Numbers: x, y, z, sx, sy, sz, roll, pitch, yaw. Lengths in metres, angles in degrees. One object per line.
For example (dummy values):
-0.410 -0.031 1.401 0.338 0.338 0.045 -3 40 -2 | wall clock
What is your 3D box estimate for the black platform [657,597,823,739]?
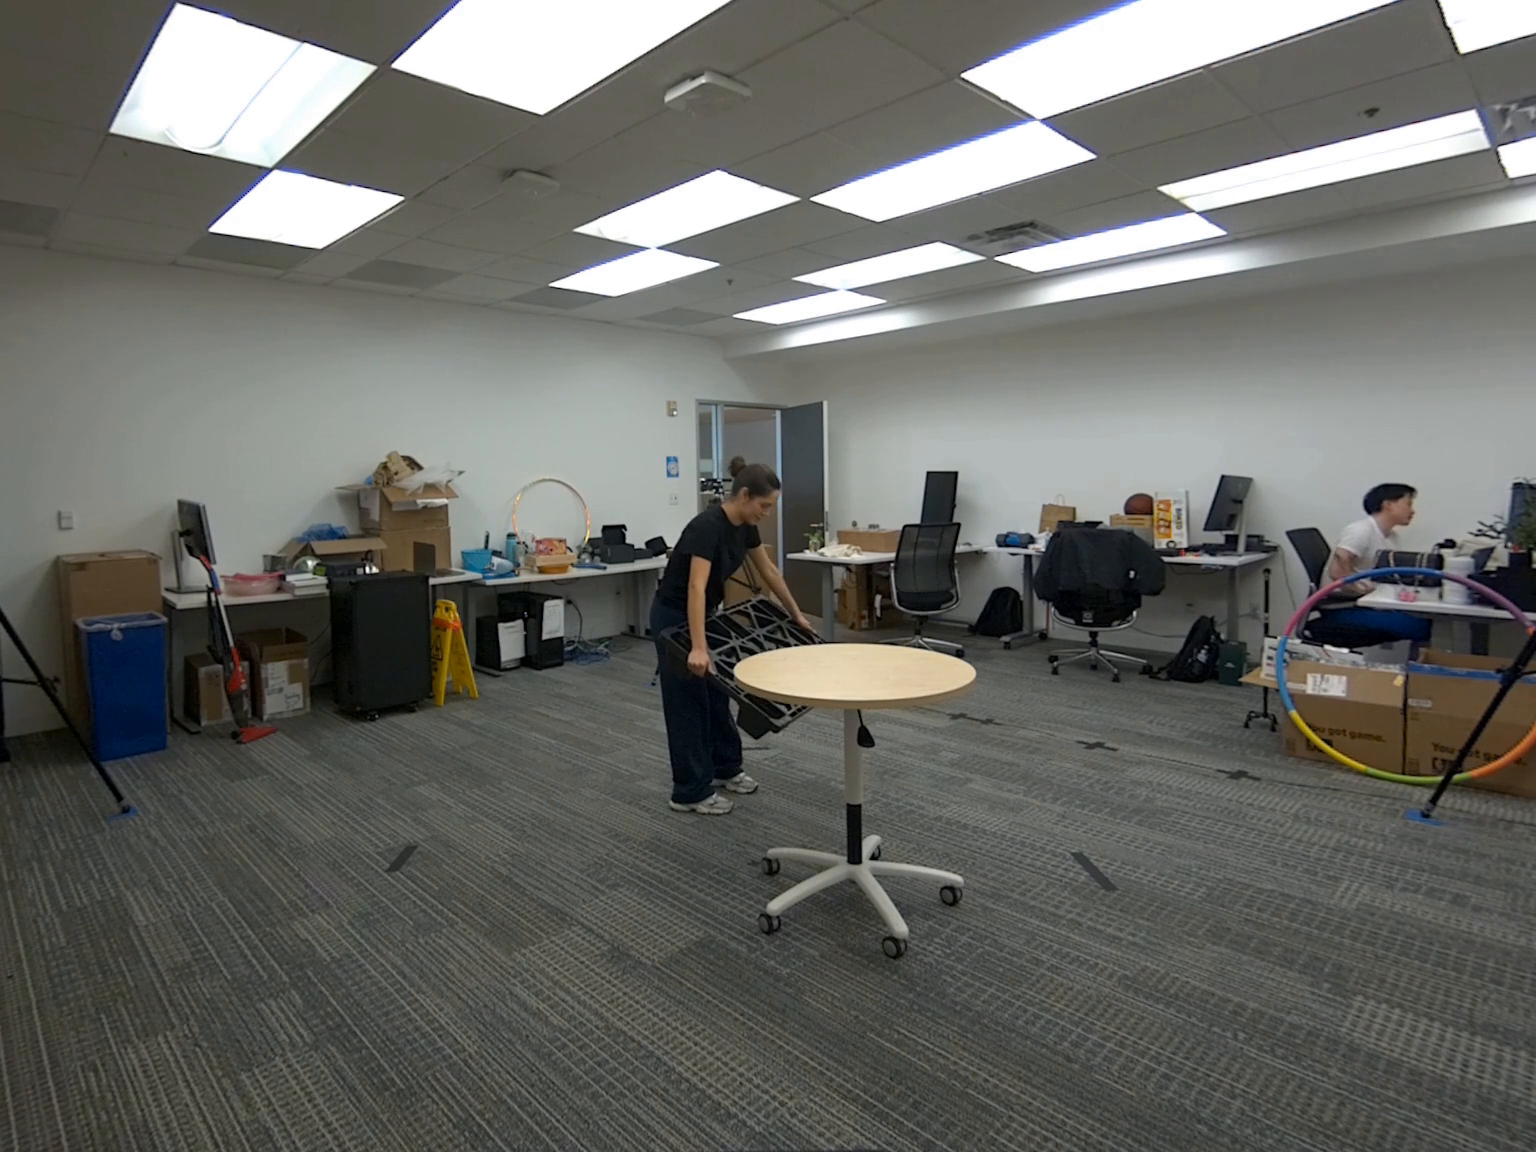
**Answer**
-0.030 0.368 3.548 0.622 0.142 0.790 34 24 21 | black platform
